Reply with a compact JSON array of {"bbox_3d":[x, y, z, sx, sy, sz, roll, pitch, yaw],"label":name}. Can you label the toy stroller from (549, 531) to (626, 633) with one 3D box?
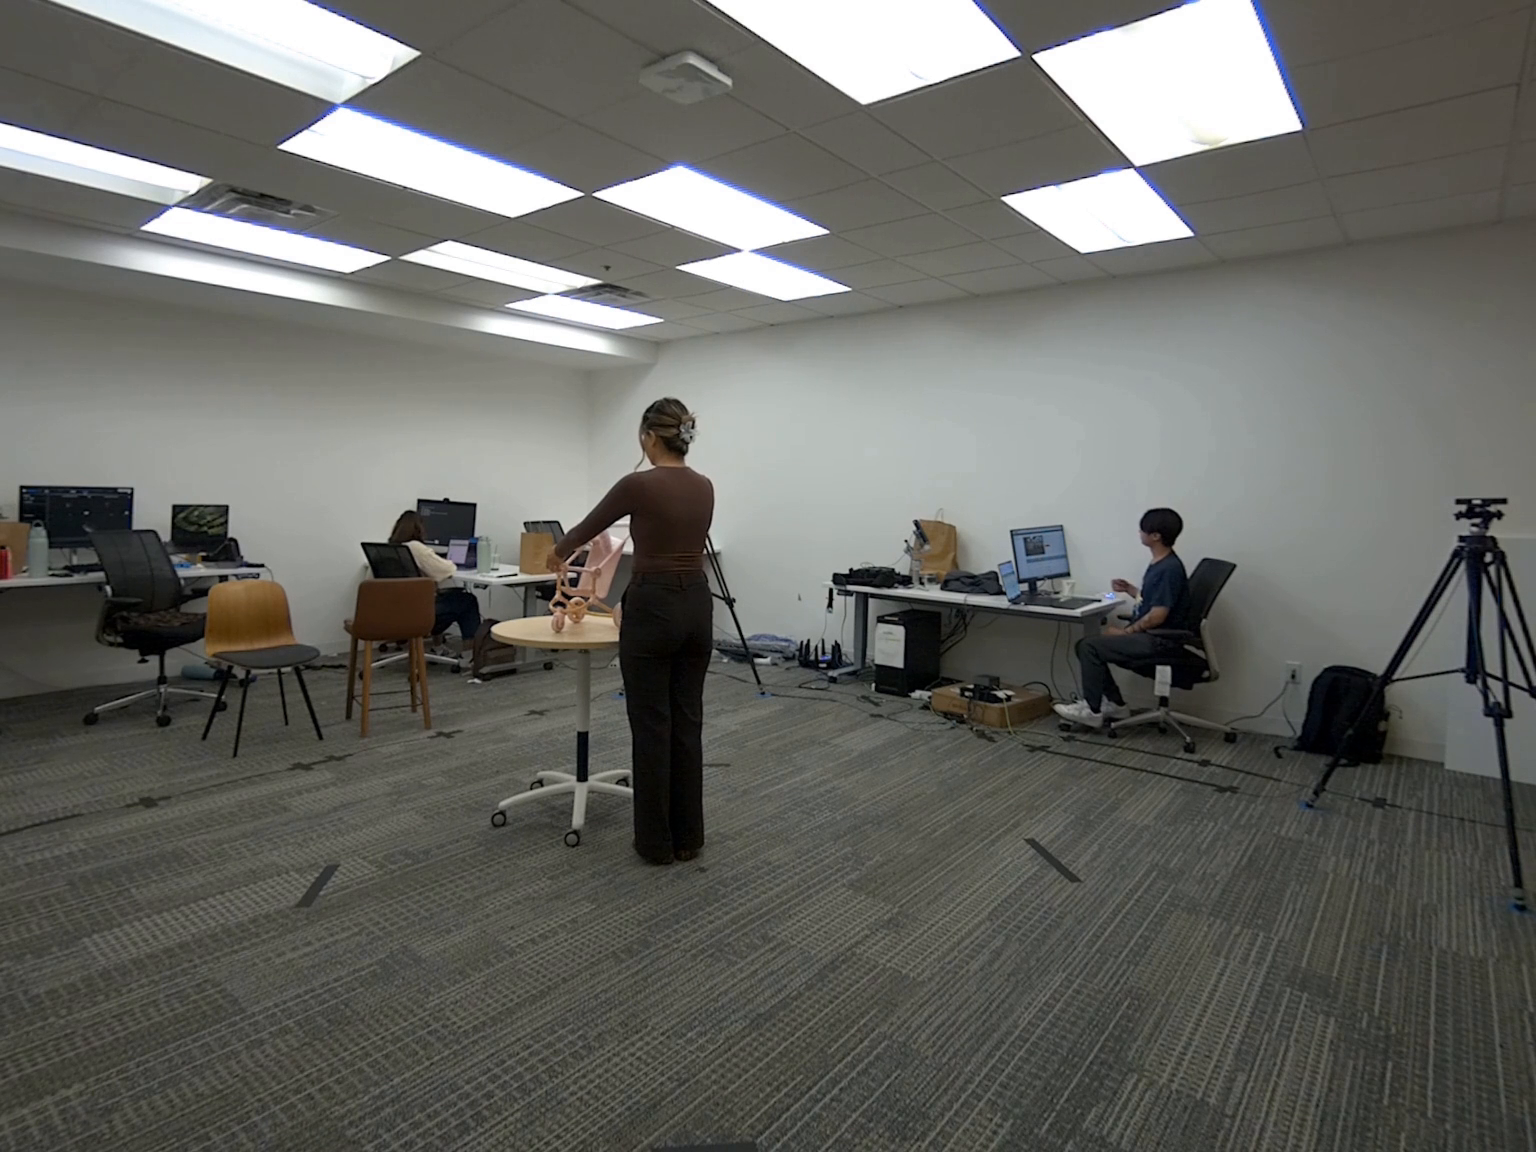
[{"bbox_3d":[-0.773,-0.012,3.603,0.290,0.539,0.328,3,-10,34],"label":"toy stroller"}]
